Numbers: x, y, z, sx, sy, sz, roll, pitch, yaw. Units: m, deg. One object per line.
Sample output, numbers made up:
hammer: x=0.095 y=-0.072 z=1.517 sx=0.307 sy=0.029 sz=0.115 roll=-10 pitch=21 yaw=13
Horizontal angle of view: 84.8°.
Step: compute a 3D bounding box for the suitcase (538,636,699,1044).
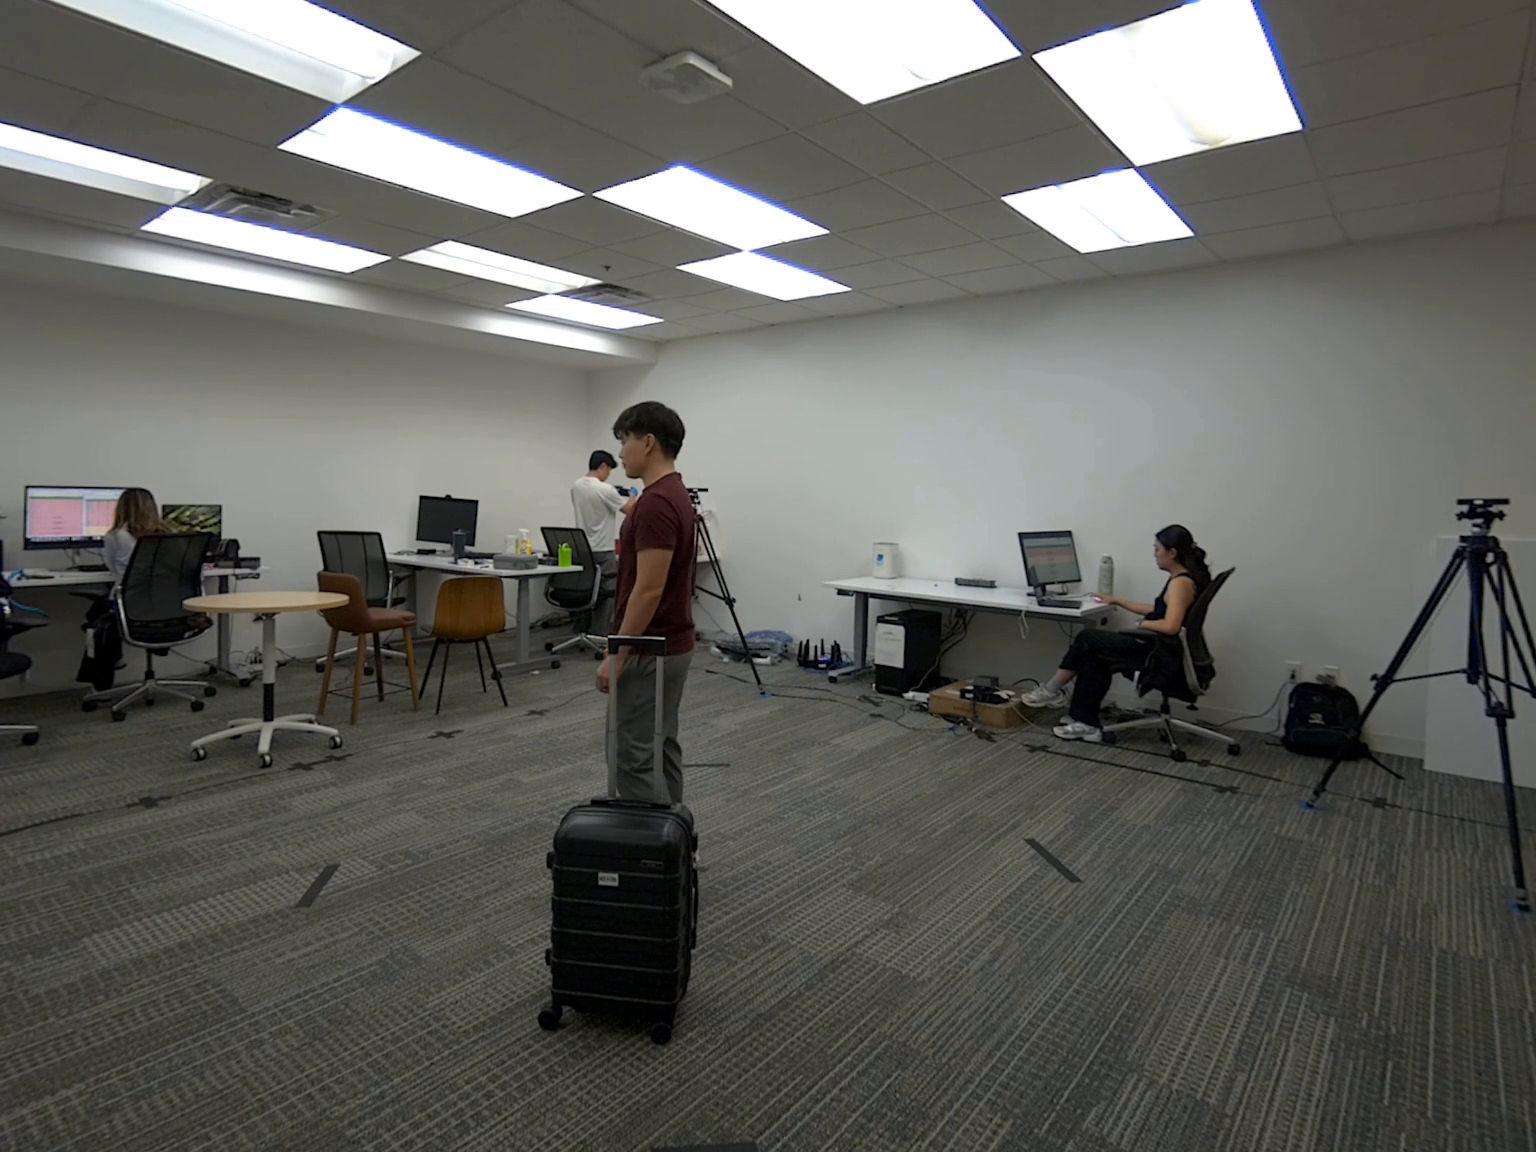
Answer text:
suitcase: x=-0.382 y=0.683 z=2.229 sx=0.386 sy=0.973 sz=0.257 roll=2 pitch=6 yaw=4
